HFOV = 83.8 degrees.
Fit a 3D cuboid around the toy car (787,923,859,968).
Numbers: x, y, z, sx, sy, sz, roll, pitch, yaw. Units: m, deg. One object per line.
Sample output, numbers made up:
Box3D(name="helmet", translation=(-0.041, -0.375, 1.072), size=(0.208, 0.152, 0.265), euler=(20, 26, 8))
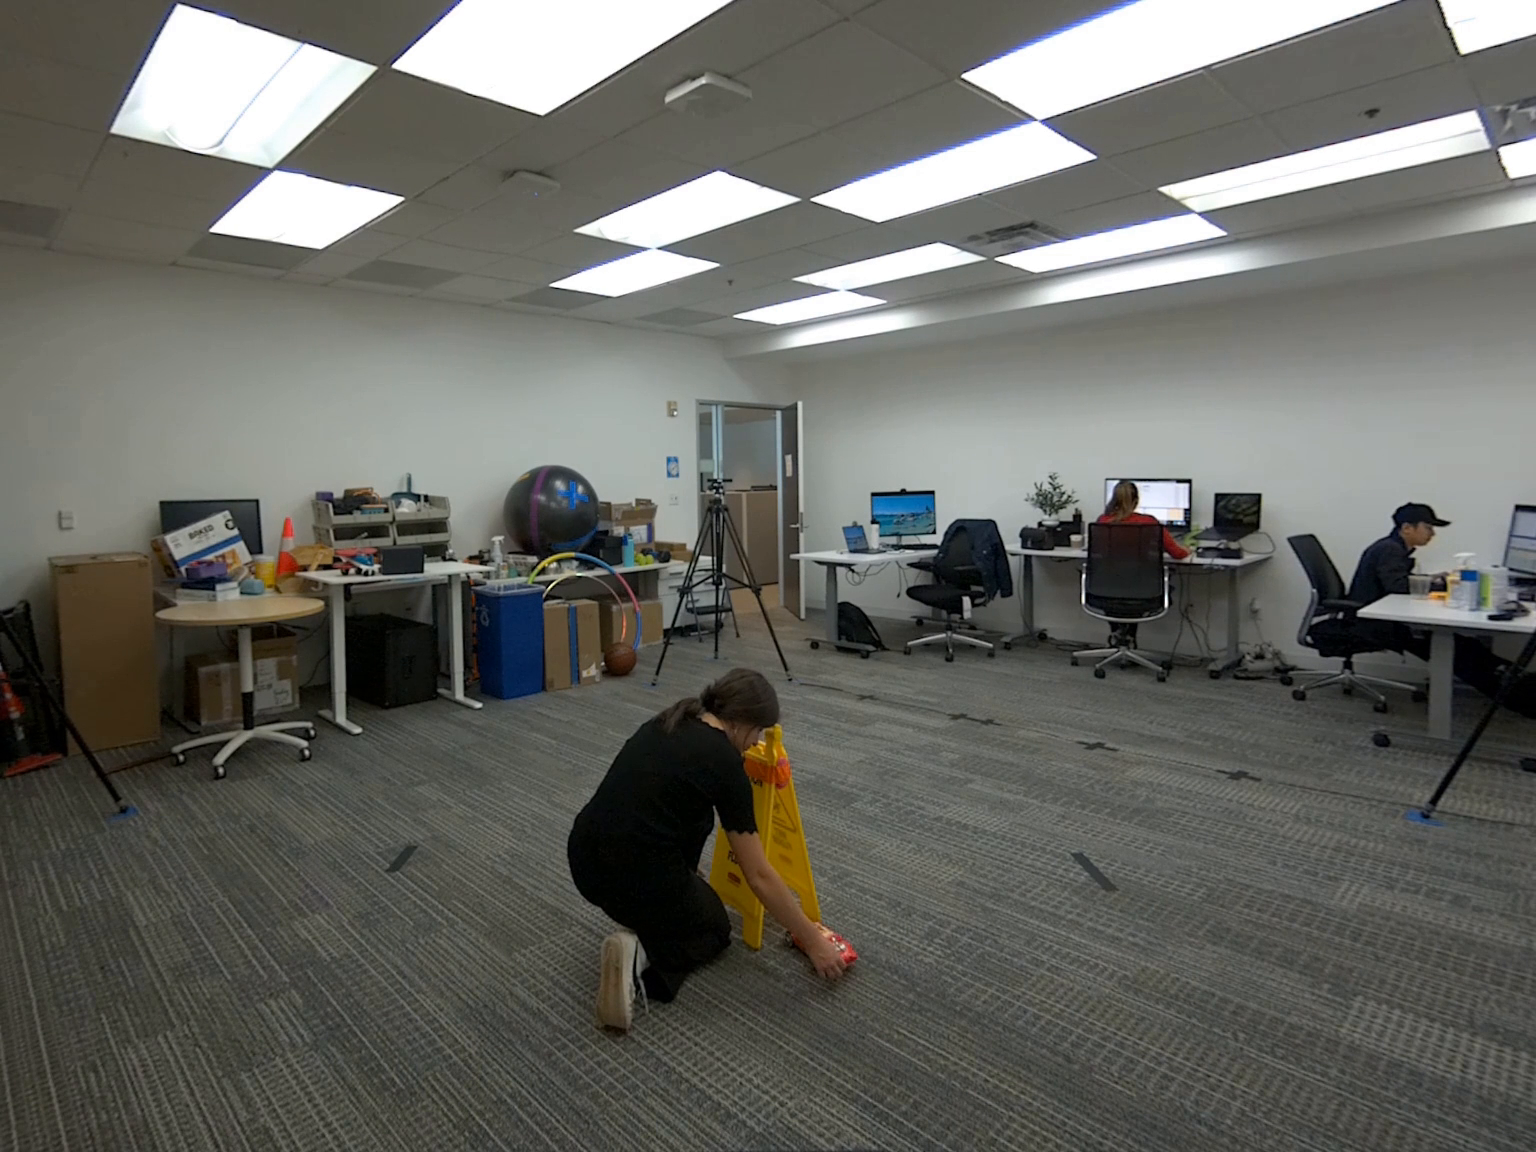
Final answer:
Box3D(name="toy car", translation=(0.155, 1.076, 2.497), size=(0.127, 0.084, 0.259), euler=(-3, -6, -31))
